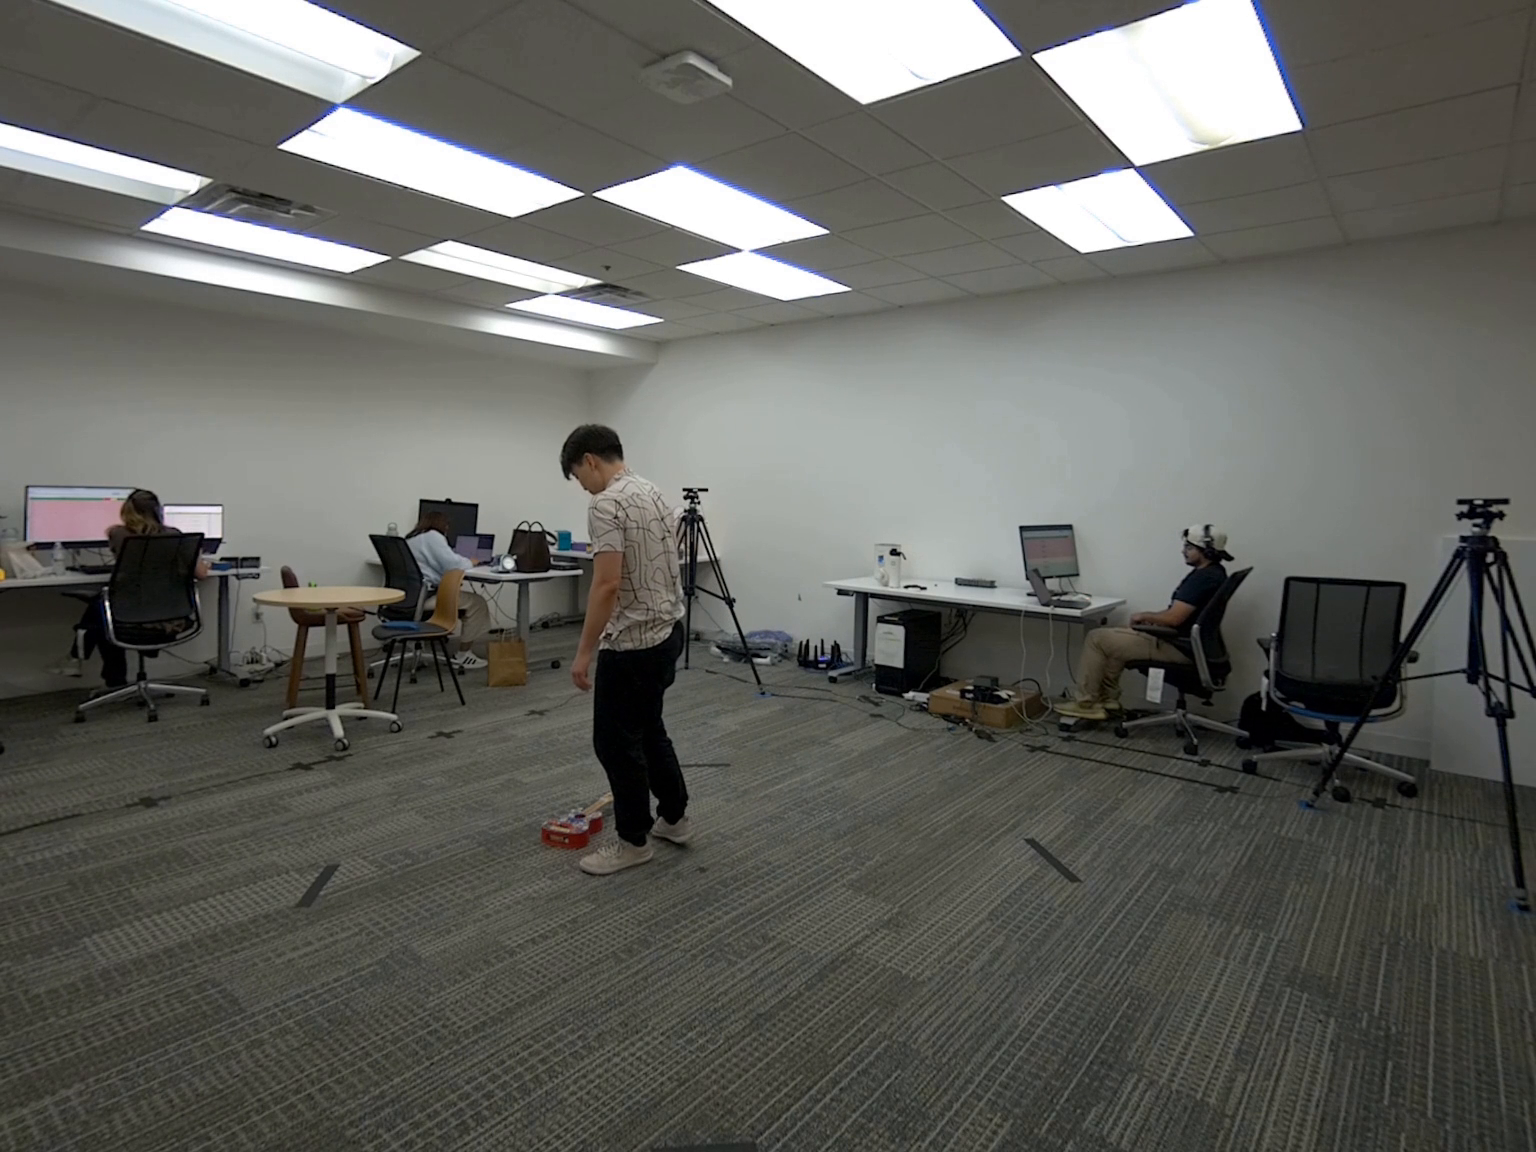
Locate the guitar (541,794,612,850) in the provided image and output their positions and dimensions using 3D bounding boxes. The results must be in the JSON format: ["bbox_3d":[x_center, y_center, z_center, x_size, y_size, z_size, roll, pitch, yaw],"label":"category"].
[{"bbox_3d":[-0.722,0.989,3.497,0.198,0.070,0.486,3,6,27],"label":"guitar"}]
